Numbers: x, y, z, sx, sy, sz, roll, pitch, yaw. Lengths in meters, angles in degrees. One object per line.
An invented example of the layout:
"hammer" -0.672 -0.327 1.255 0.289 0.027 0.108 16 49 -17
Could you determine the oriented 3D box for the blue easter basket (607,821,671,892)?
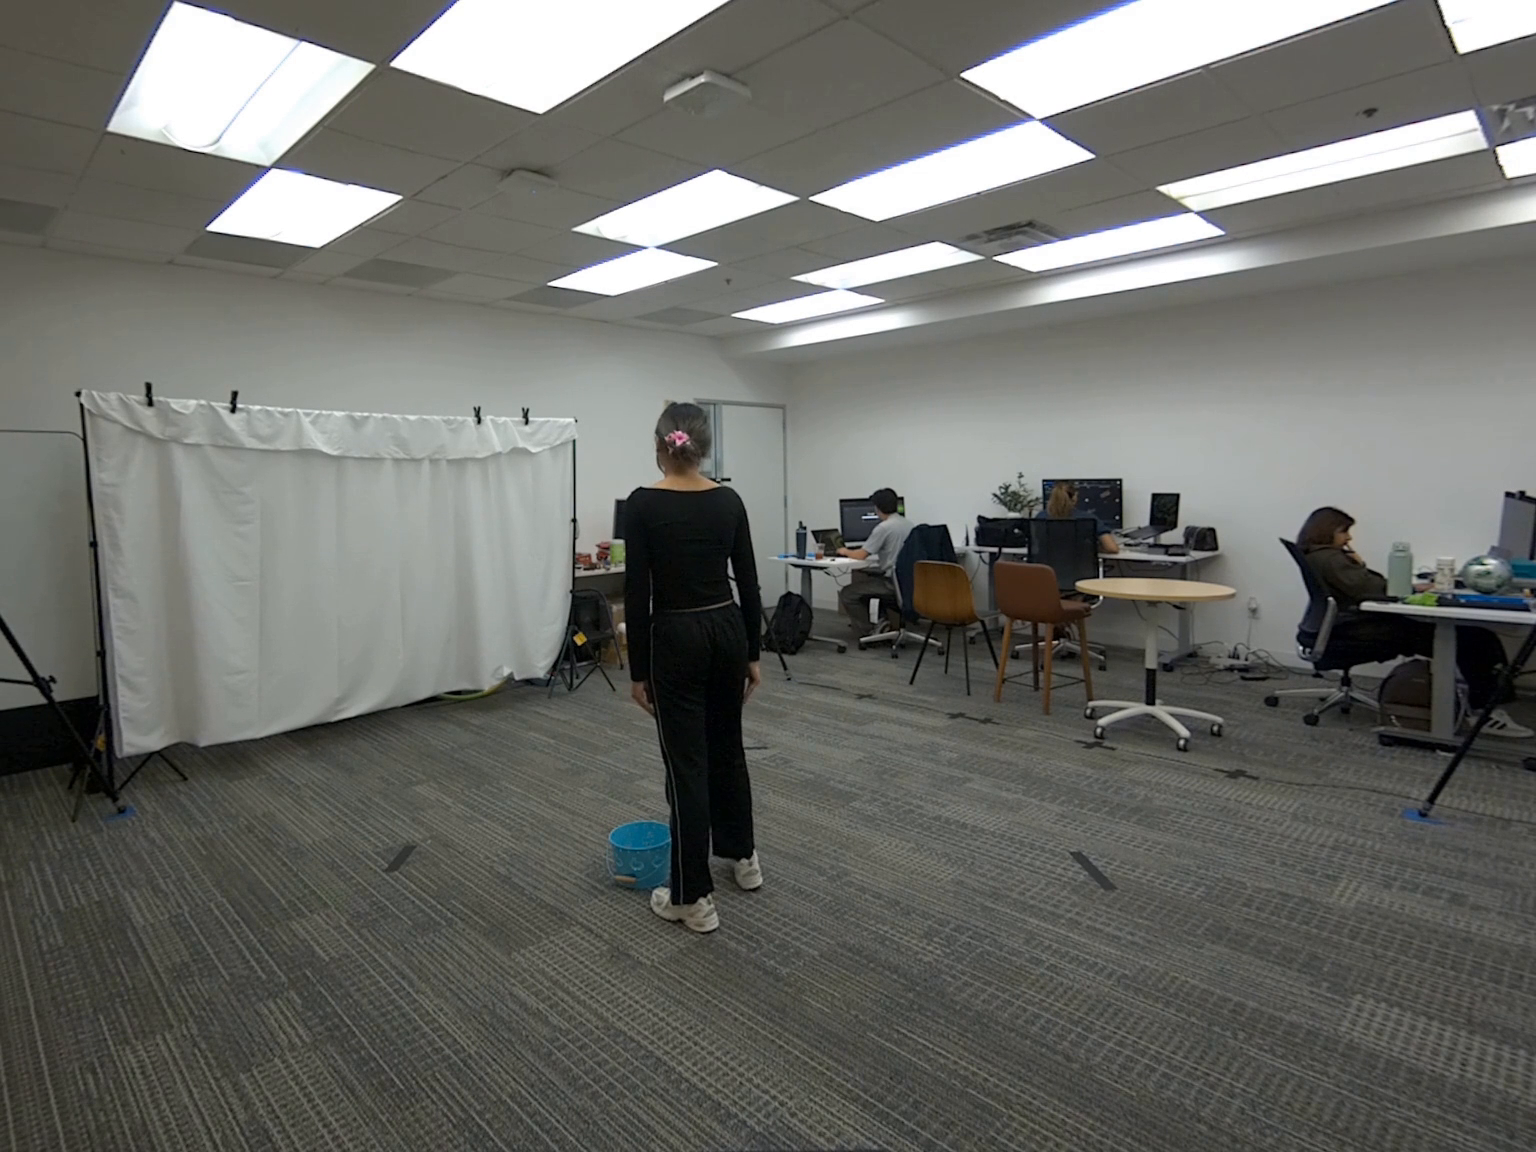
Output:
"blue easter basket" -0.436 0.982 3.010 0.243 0.155 0.245 -1 6 -2
